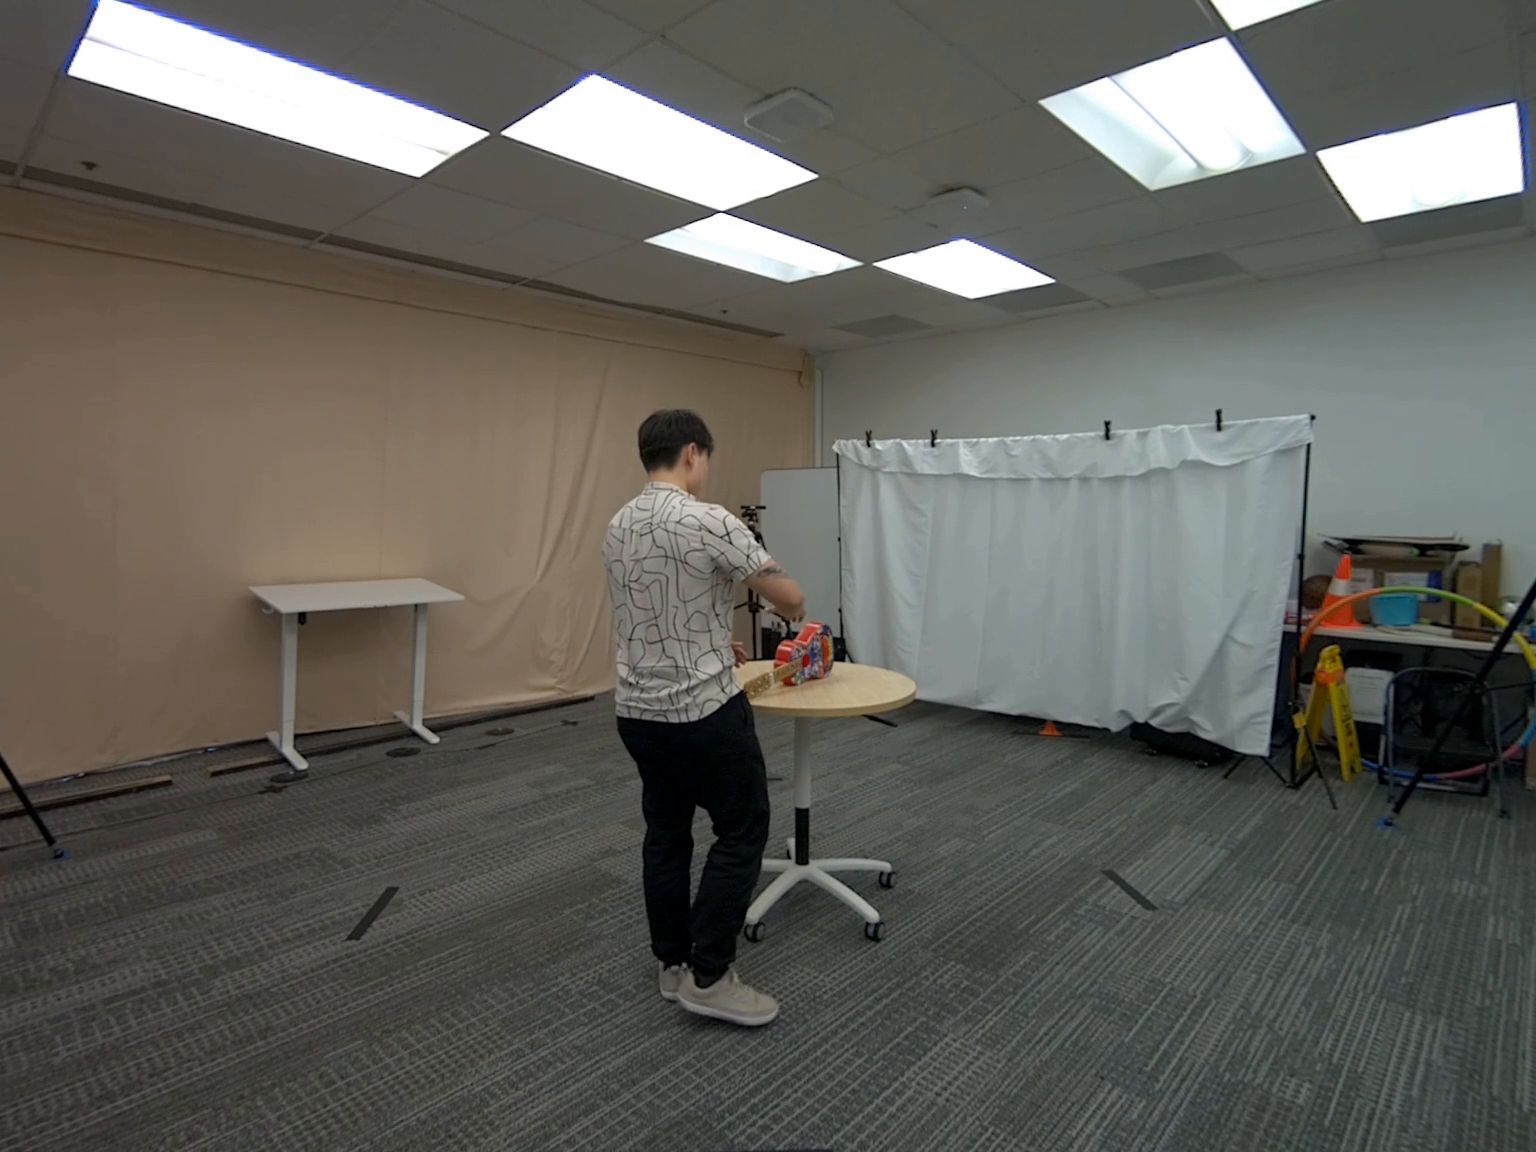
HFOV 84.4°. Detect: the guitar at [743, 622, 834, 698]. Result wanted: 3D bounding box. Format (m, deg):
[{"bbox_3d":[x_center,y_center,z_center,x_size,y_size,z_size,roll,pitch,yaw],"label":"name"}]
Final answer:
[{"bbox_3d":[0.071,0.279,2.823,0.073,0.192,0.483,5,8,39],"label":"guitar"}]
